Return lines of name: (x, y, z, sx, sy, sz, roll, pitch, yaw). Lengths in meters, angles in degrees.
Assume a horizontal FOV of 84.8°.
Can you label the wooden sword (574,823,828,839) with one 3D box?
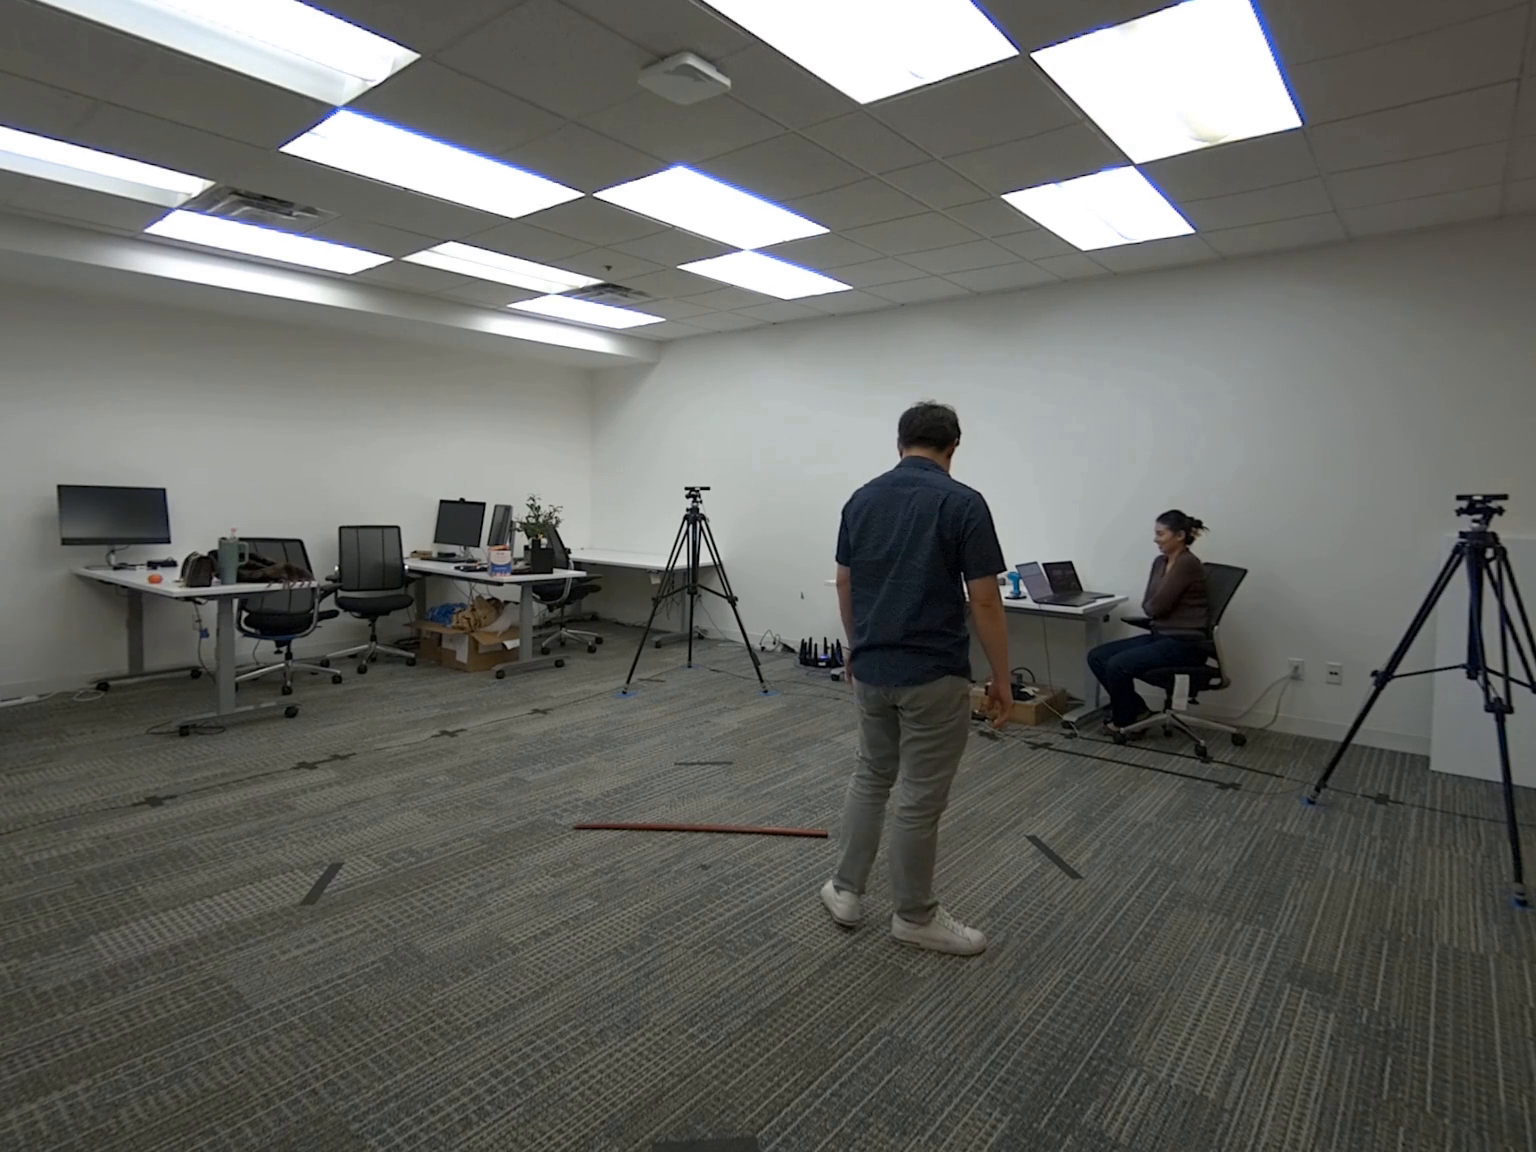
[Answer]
wooden sword: (-0.289, 1.012, 3.433, 1.027, 0.024, 0.051, 1, 6, 2)
